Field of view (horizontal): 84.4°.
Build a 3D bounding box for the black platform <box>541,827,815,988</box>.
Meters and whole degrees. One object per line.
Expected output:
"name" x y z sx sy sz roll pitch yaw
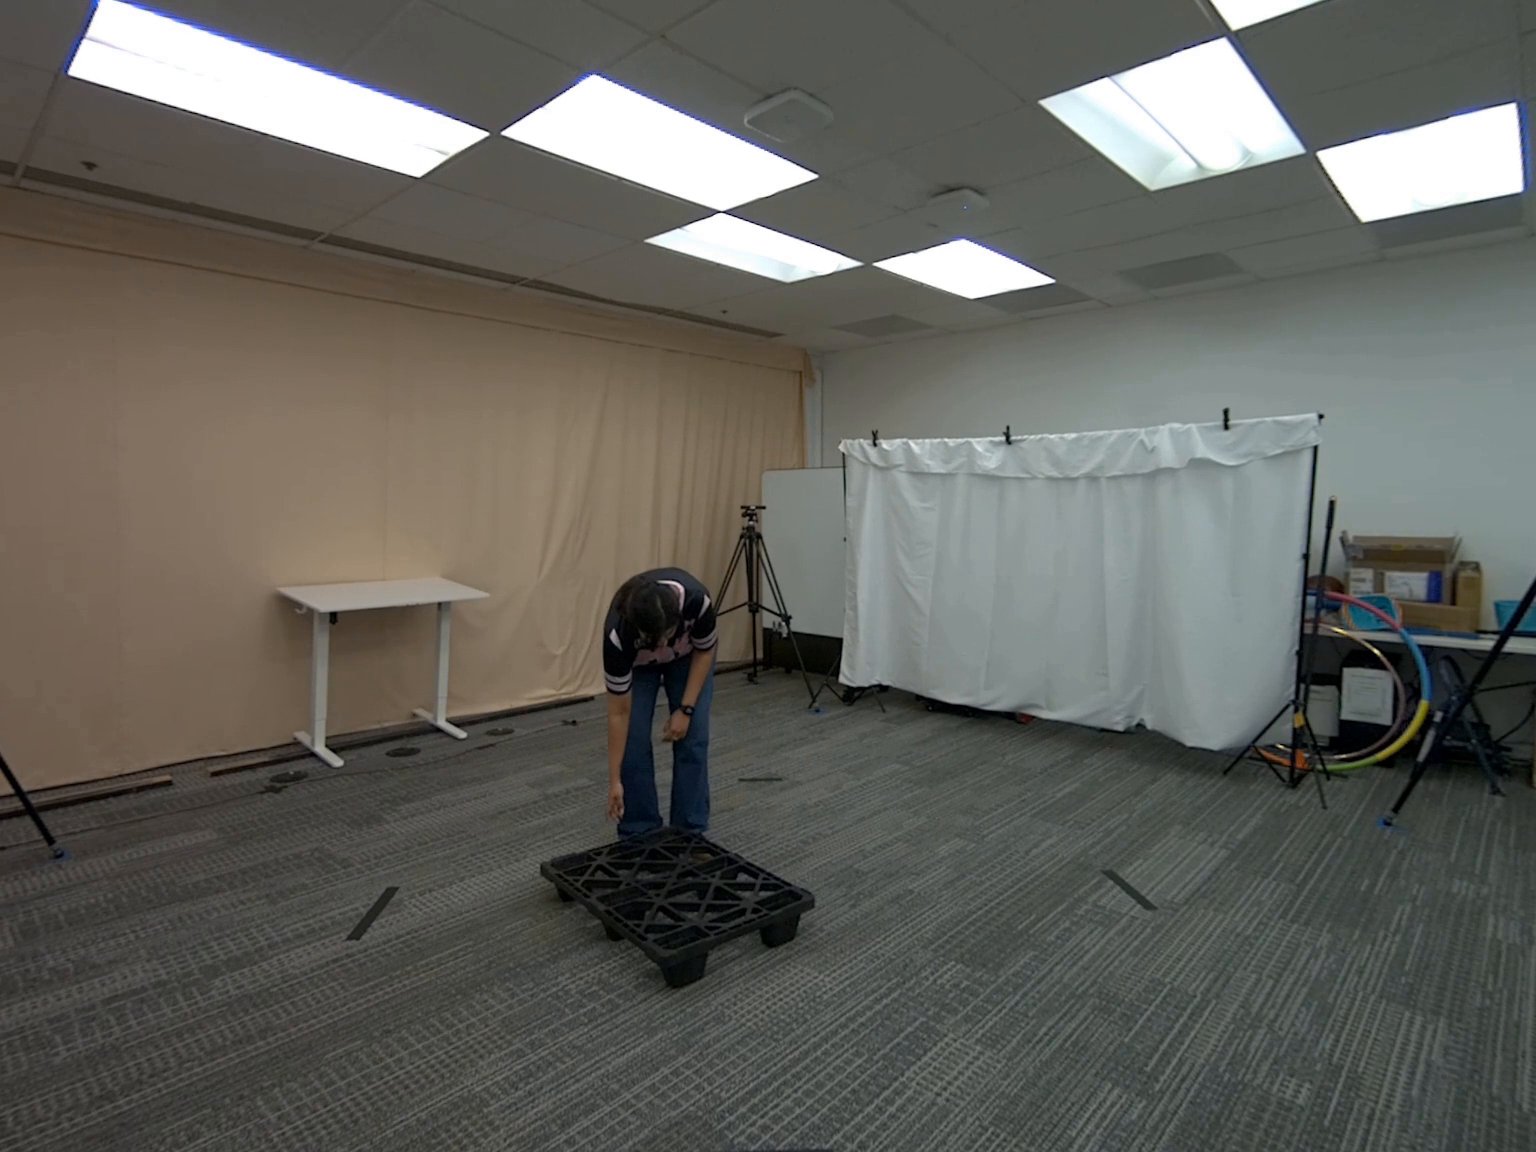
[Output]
"black platform" -0.324 1.094 2.842 0.587 0.143 0.832 -5 6 -39
